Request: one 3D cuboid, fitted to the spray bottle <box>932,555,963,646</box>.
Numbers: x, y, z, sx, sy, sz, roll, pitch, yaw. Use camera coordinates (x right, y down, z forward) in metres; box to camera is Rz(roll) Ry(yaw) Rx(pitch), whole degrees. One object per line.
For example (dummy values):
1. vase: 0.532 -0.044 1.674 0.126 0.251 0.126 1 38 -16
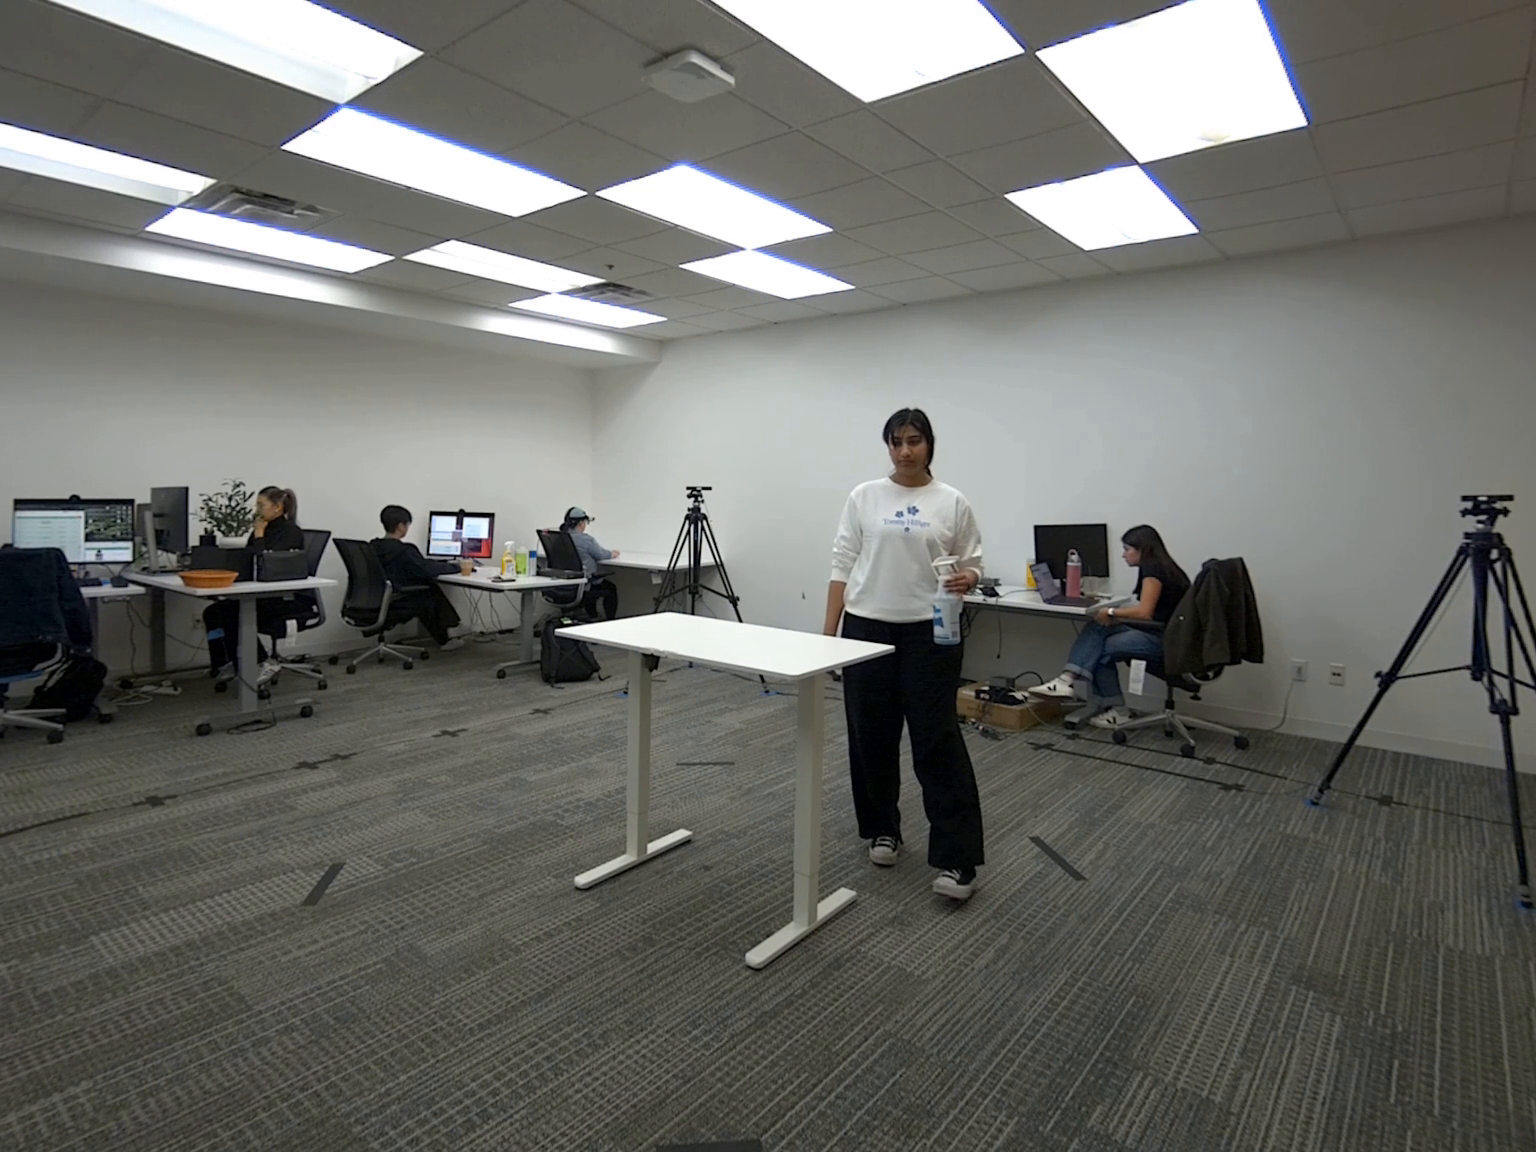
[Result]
1. spray bottle: 0.612 0.083 2.908 0.093 0.297 0.084 -1 1 38
